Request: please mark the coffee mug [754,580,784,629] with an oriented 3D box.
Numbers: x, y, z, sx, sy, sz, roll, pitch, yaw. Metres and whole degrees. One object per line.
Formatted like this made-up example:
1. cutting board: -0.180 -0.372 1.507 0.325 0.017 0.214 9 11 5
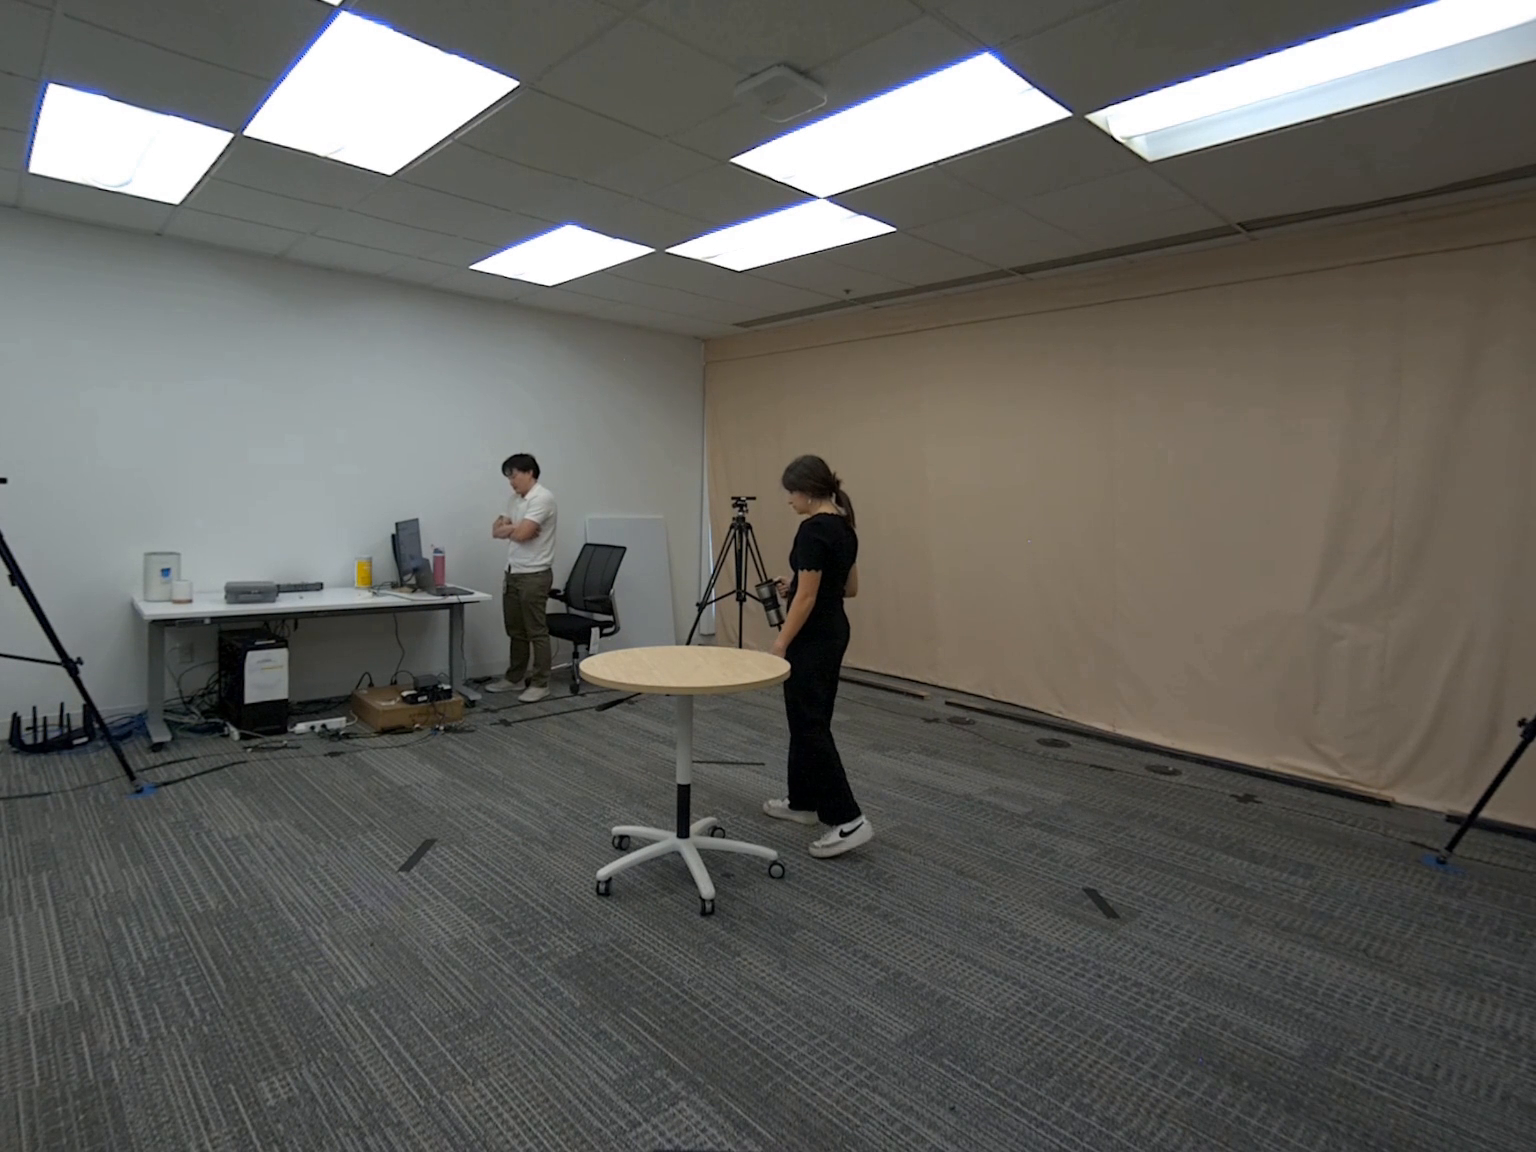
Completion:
1. coffee mug: 0.018 0.119 3.709 0.086 0.204 0.123 -15 -4 -38
